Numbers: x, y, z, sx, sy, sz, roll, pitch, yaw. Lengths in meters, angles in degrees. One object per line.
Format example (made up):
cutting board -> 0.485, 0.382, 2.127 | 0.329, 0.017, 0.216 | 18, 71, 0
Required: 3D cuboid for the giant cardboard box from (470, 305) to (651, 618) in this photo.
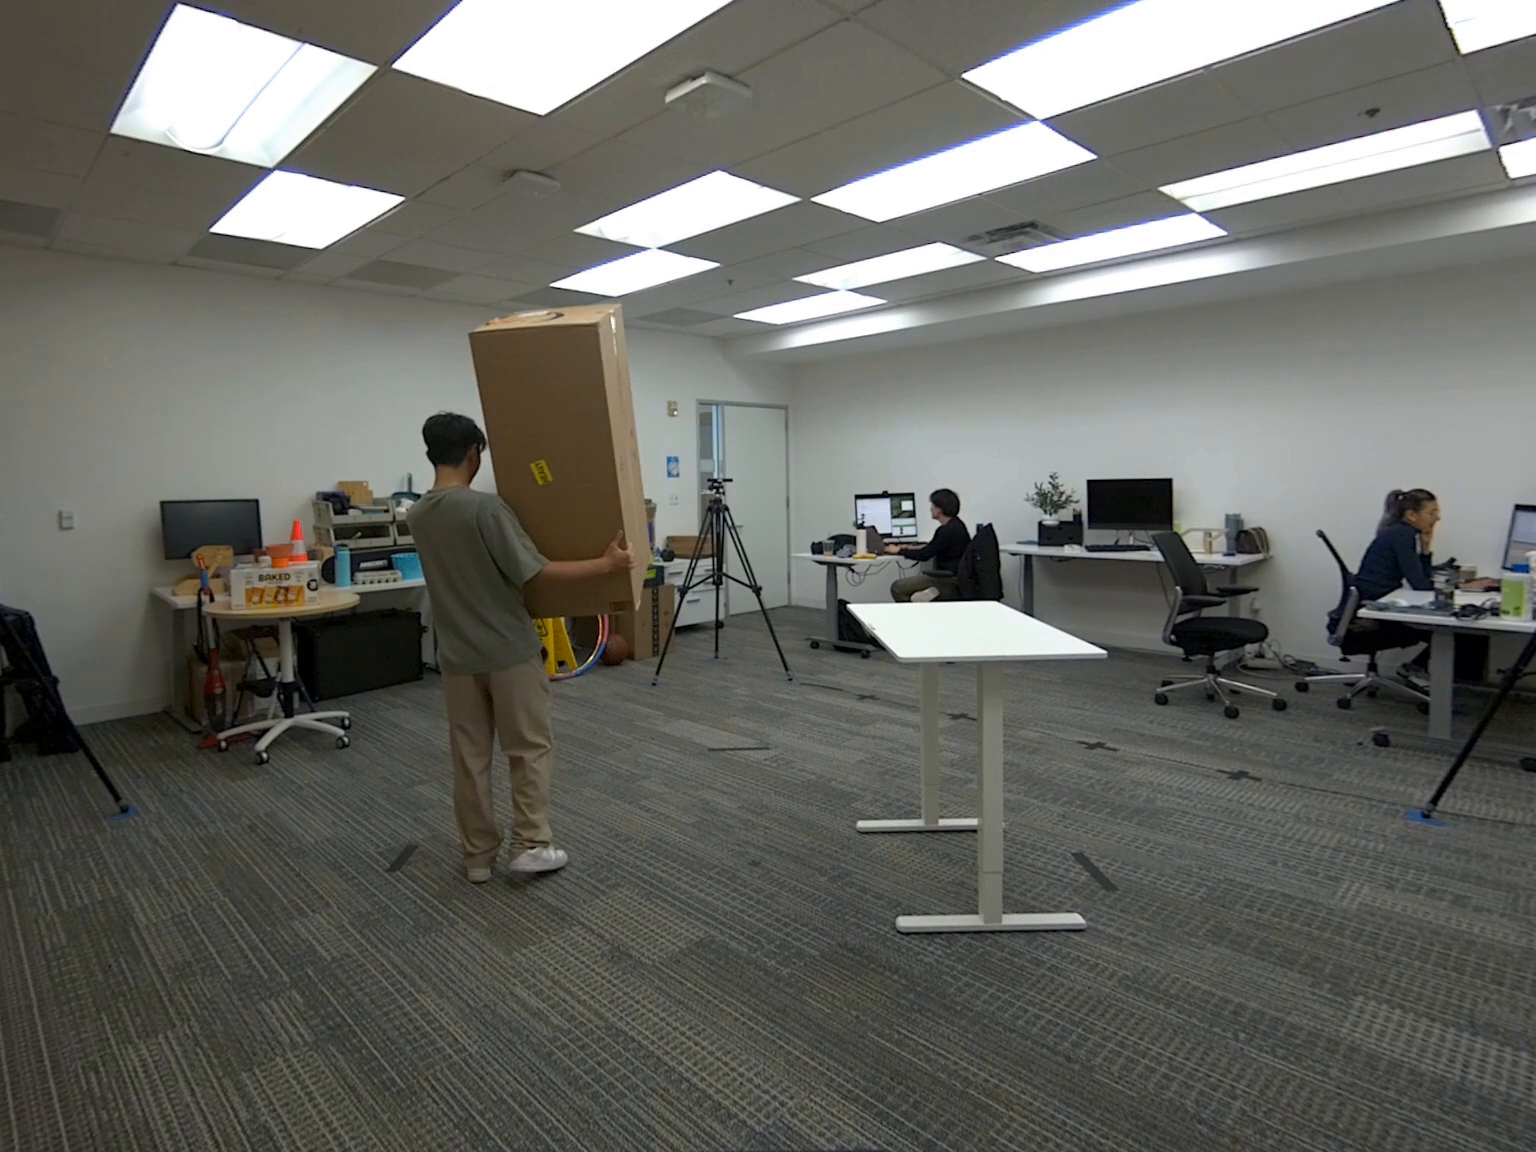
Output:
giant cardboard box -> -0.722, -0.433, 3.149 | 0.427, 1.005, 0.588 | -3, 22, 1
